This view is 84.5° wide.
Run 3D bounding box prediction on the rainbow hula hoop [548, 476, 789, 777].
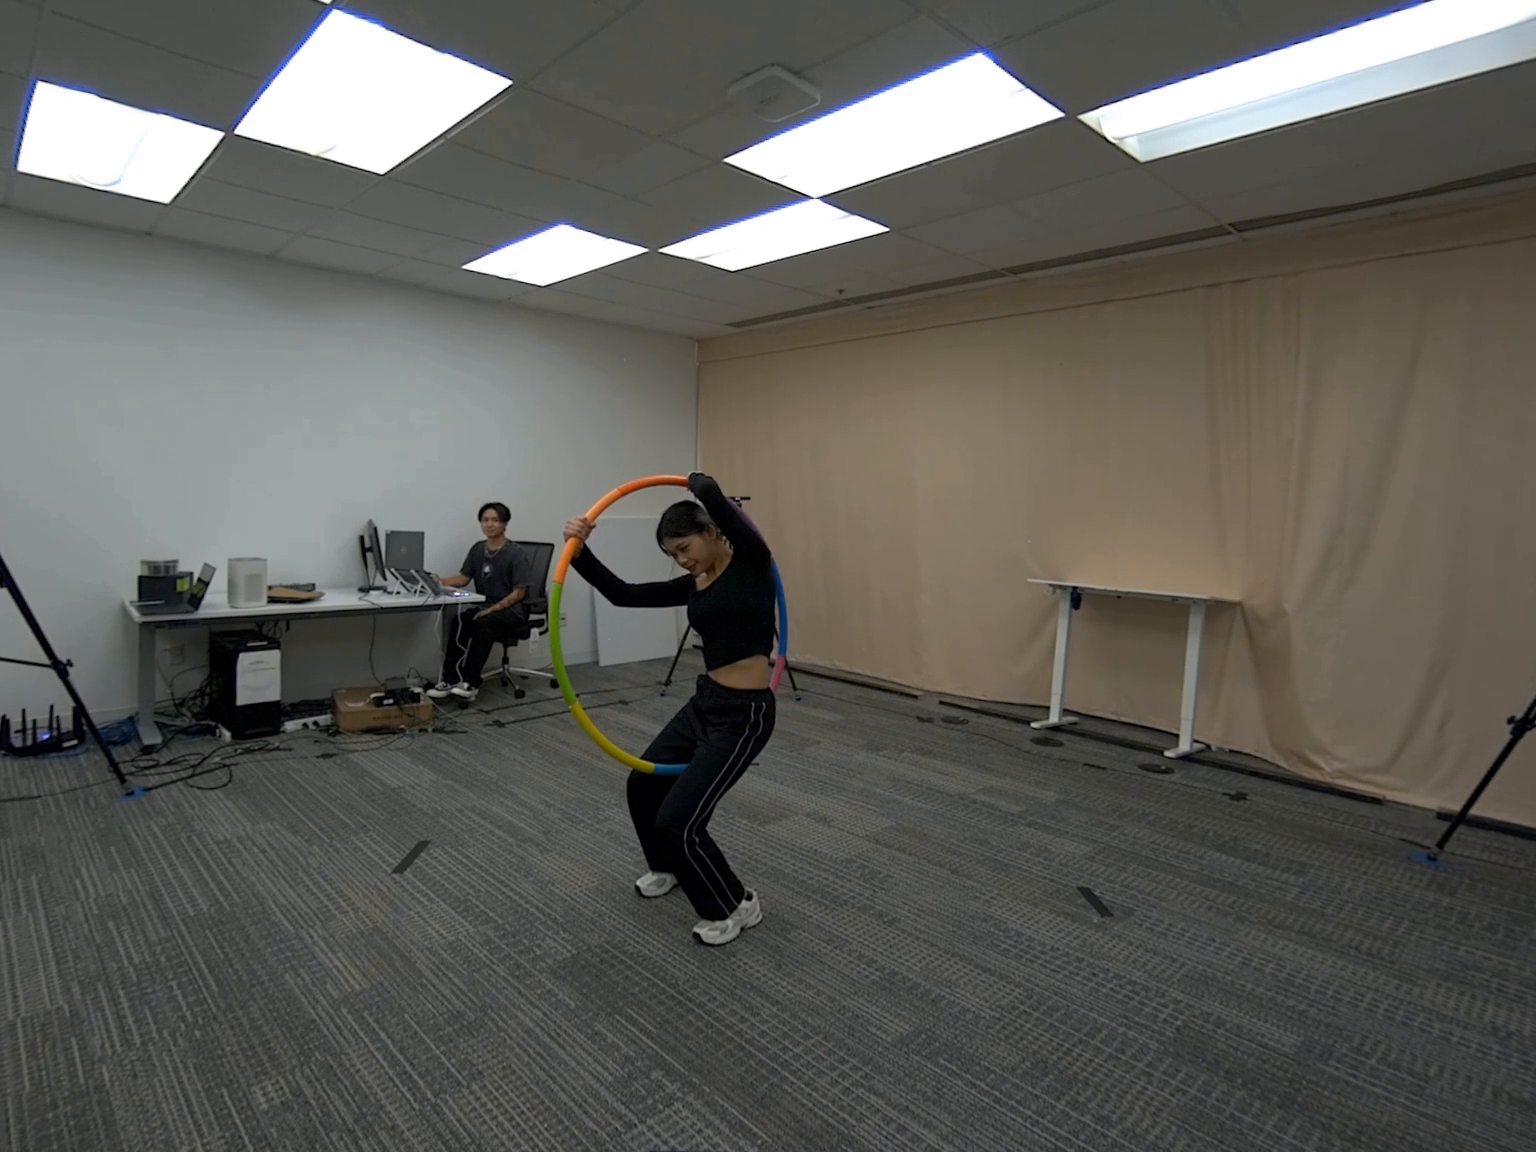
[{"bbox_3d":[-0.302,0.156,2.827,0.956,0.981,0.036,-2,-3,-40],"label":"rainbow hula hoop"}]
